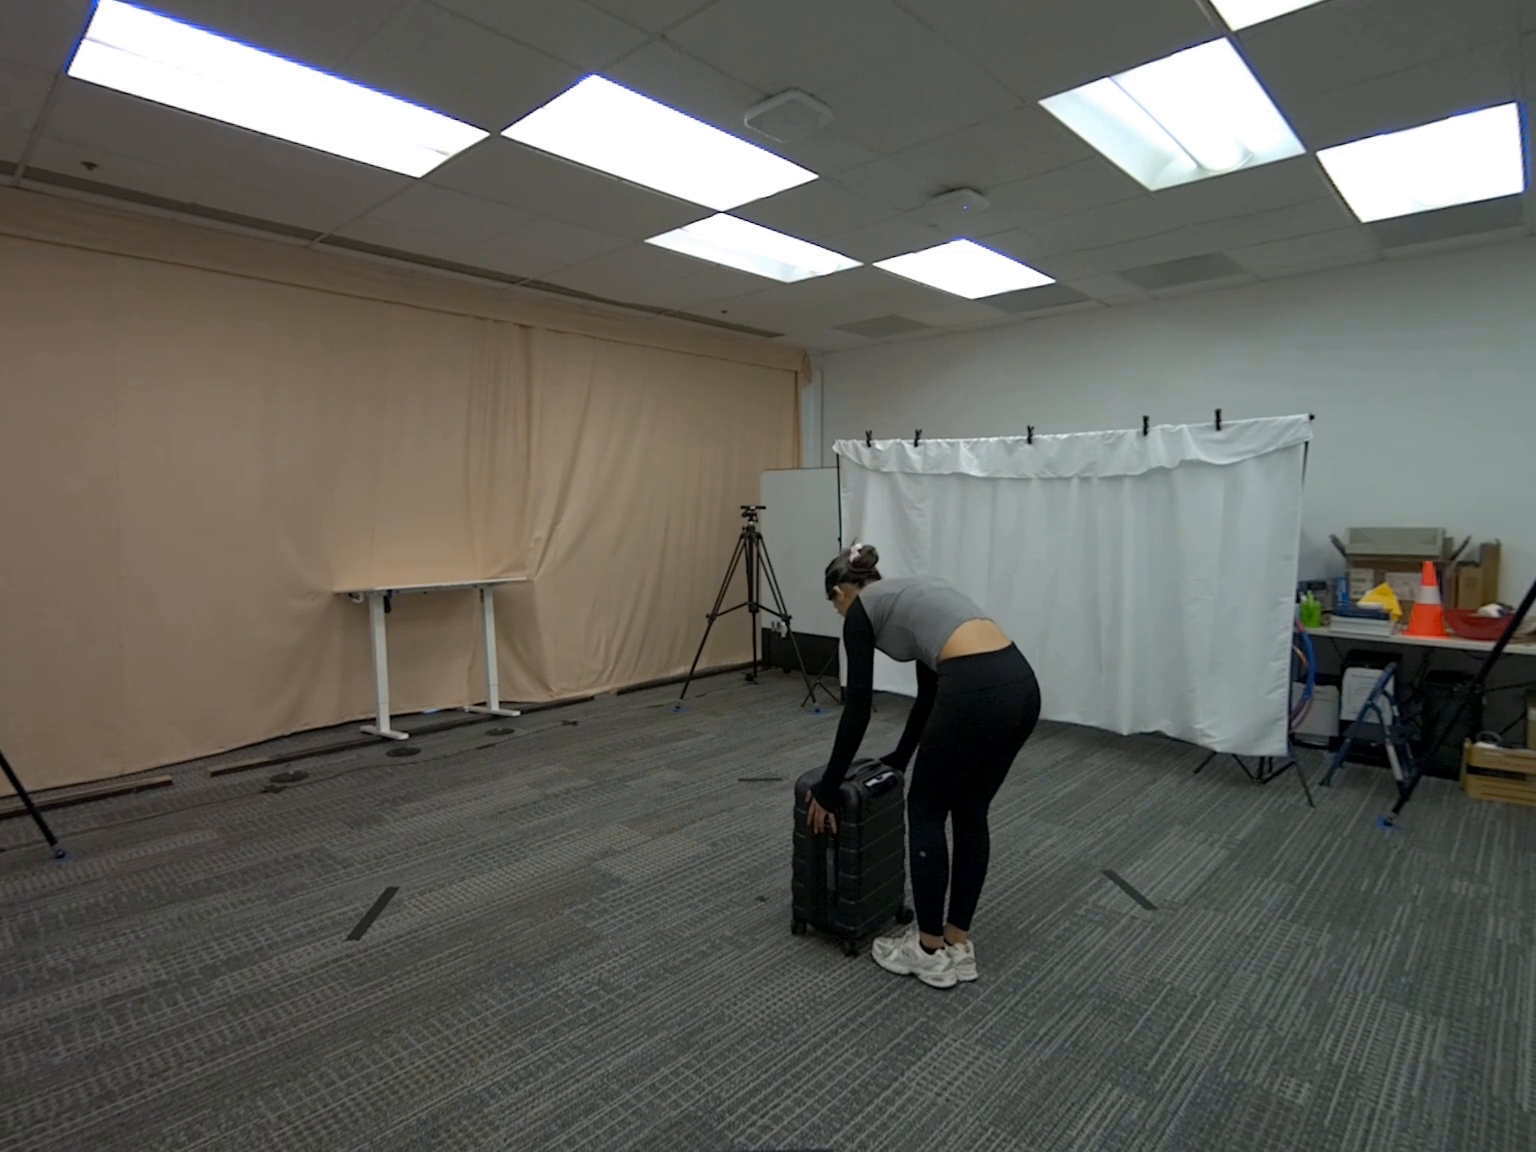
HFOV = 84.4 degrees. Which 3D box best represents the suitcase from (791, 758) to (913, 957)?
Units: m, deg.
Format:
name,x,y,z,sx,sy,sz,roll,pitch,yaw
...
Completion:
name,x,y,z,sx,sy,sz,roll,pitch,yaw
suitcase,0.264,0.890,2.743,0.256,0.547,0.364,4,7,40
